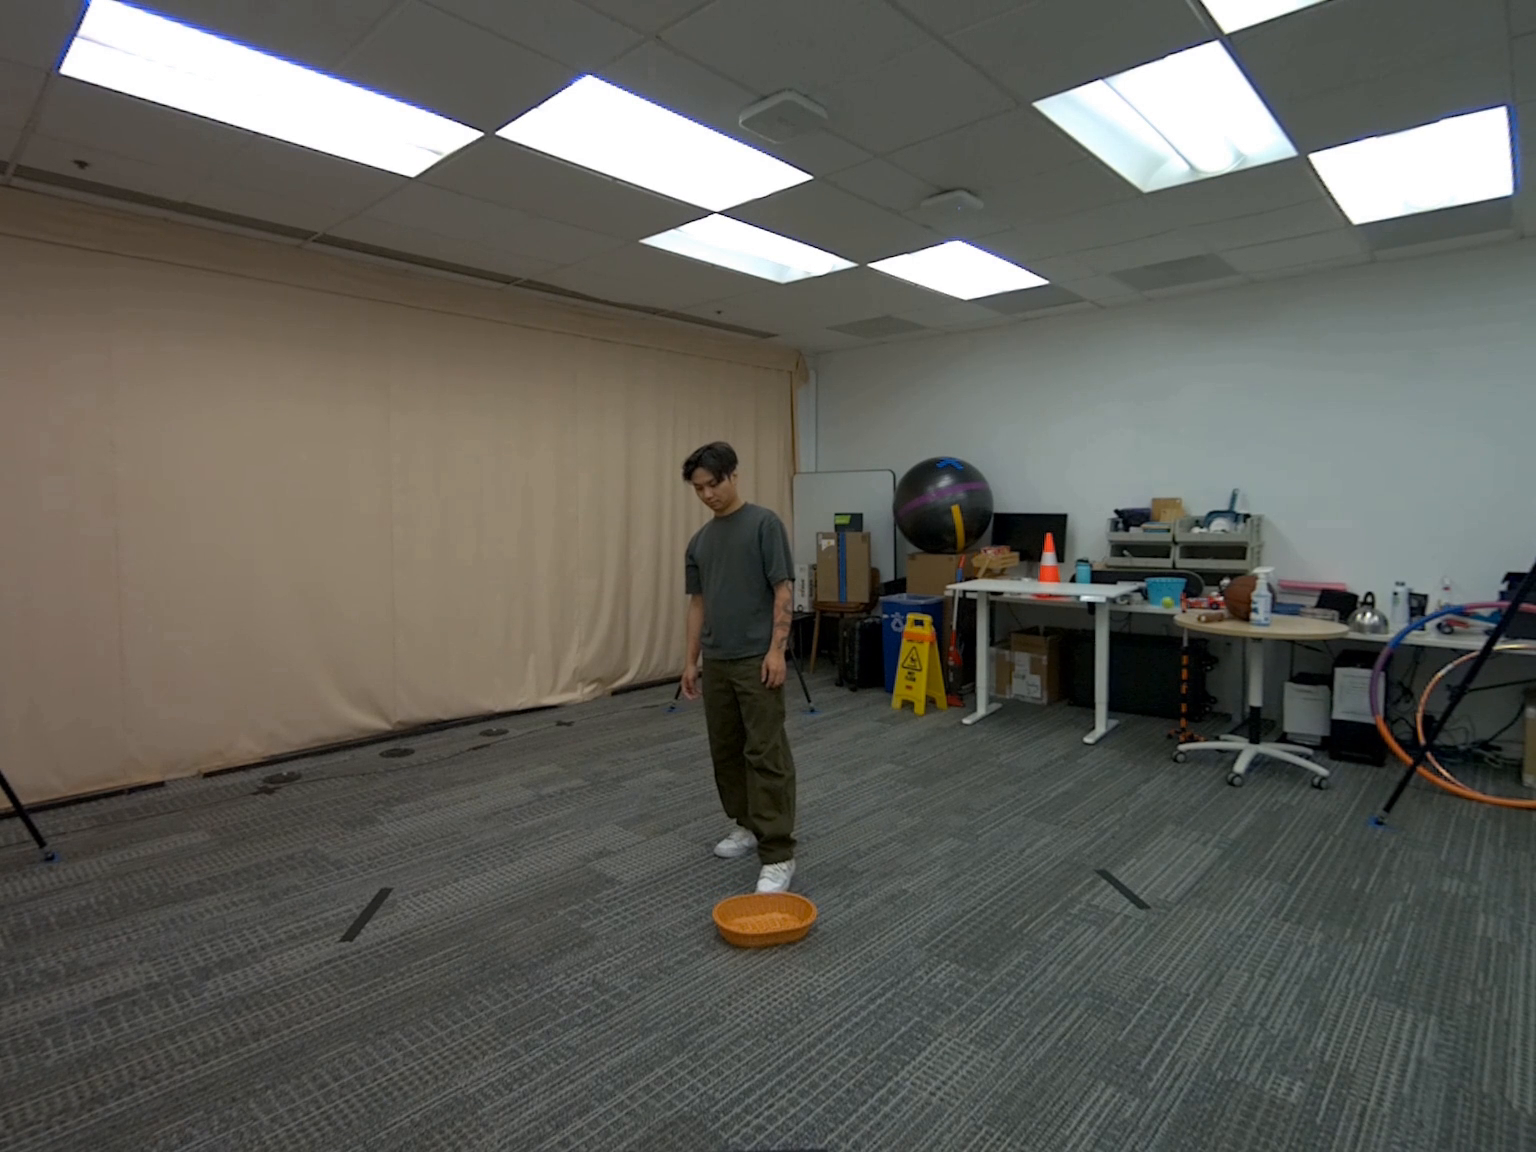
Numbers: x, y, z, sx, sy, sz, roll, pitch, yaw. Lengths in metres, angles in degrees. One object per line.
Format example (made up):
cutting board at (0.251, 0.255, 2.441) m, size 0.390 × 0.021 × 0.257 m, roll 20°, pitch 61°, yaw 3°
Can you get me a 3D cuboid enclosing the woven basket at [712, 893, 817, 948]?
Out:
woven basket at (-0.008, 1.121, 2.752) m, size 0.345 × 0.073 × 0.257 m, roll -1°, pitch 6°, yaw -15°
